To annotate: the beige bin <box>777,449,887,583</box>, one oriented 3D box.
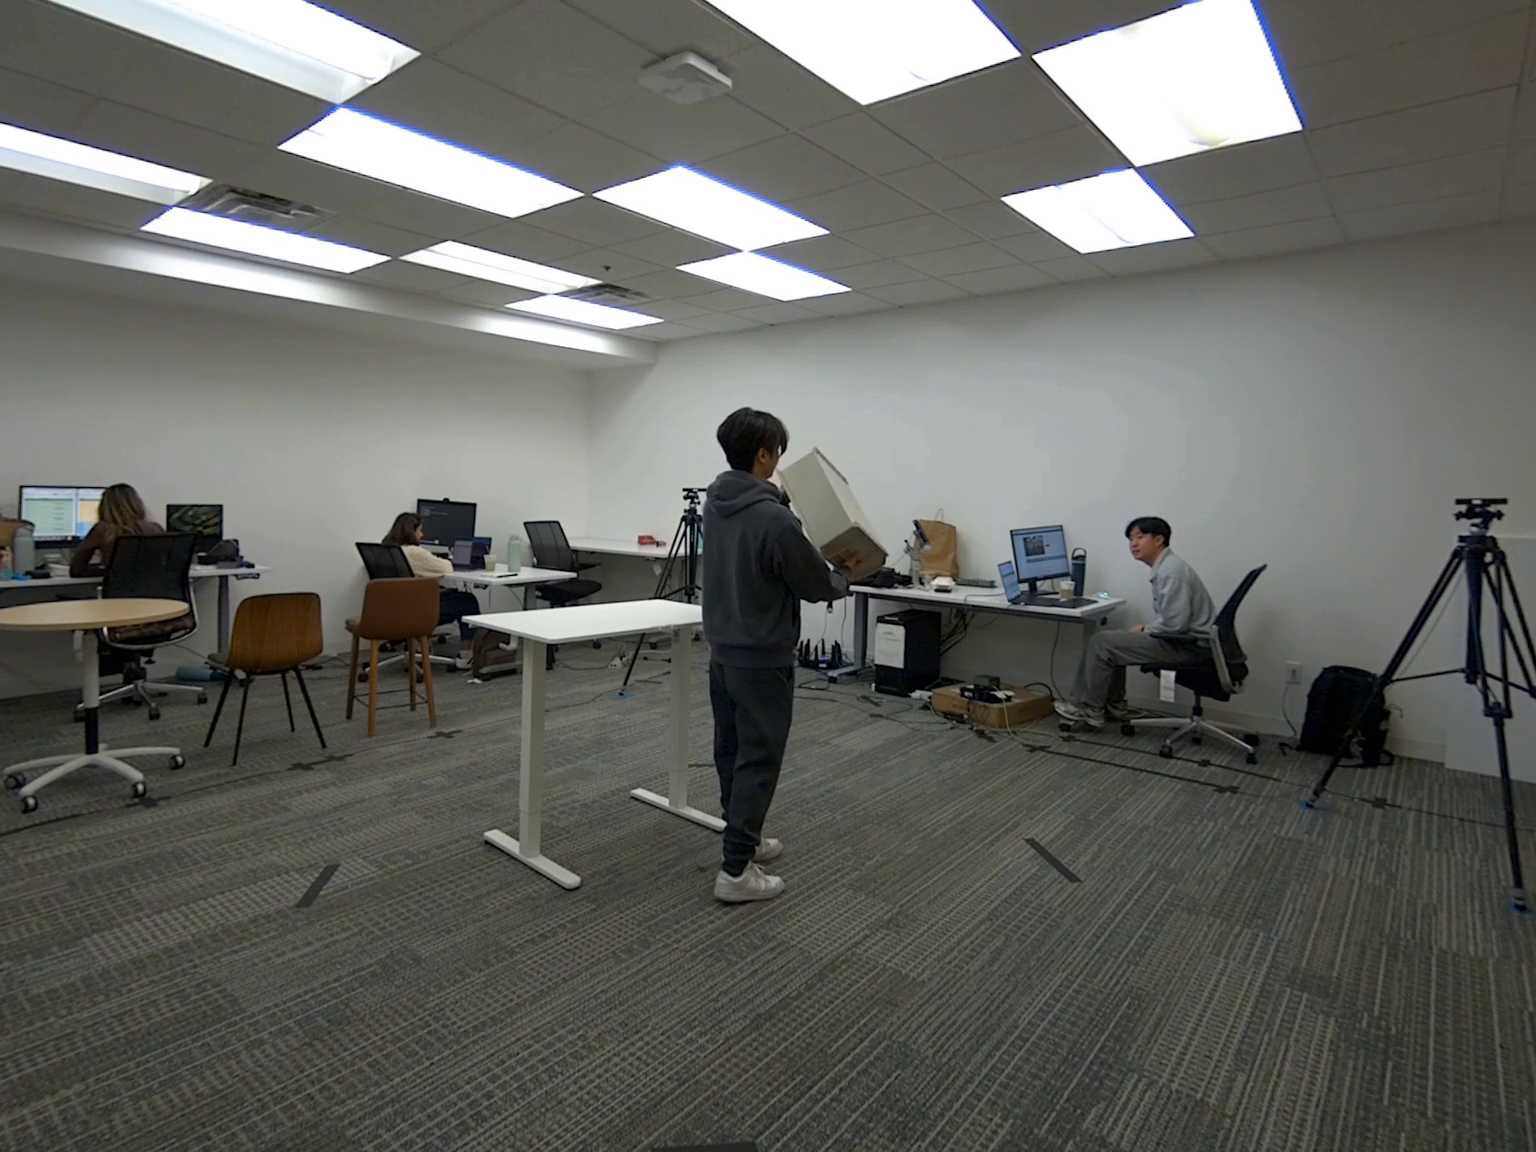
[{"bbox_3d":[0.250,-0.236,3.315,0.190,0.437,0.362,-33,-33,15],"label":"beige bin"}]
